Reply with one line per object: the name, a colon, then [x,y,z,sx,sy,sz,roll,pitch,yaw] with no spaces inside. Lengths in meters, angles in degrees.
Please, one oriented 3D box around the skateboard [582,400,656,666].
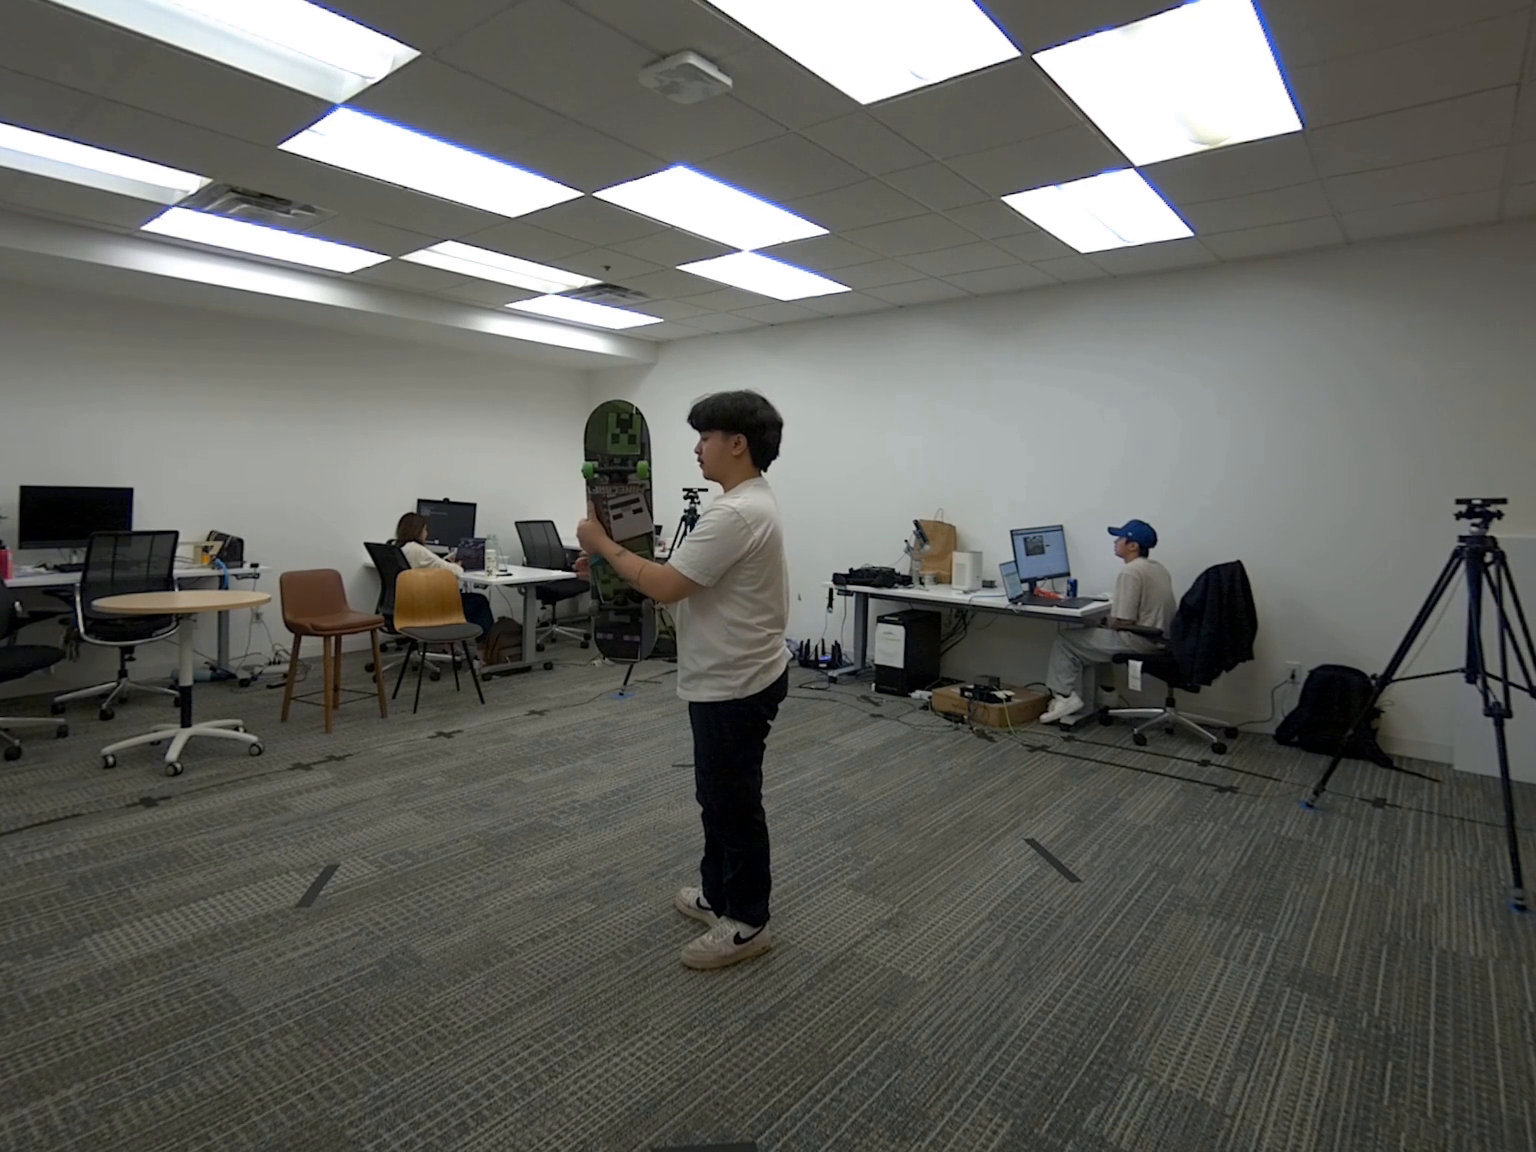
skateboard: [-0.440,-0.109,2.457,0.193,0.778,0.111,0,10,-1]
